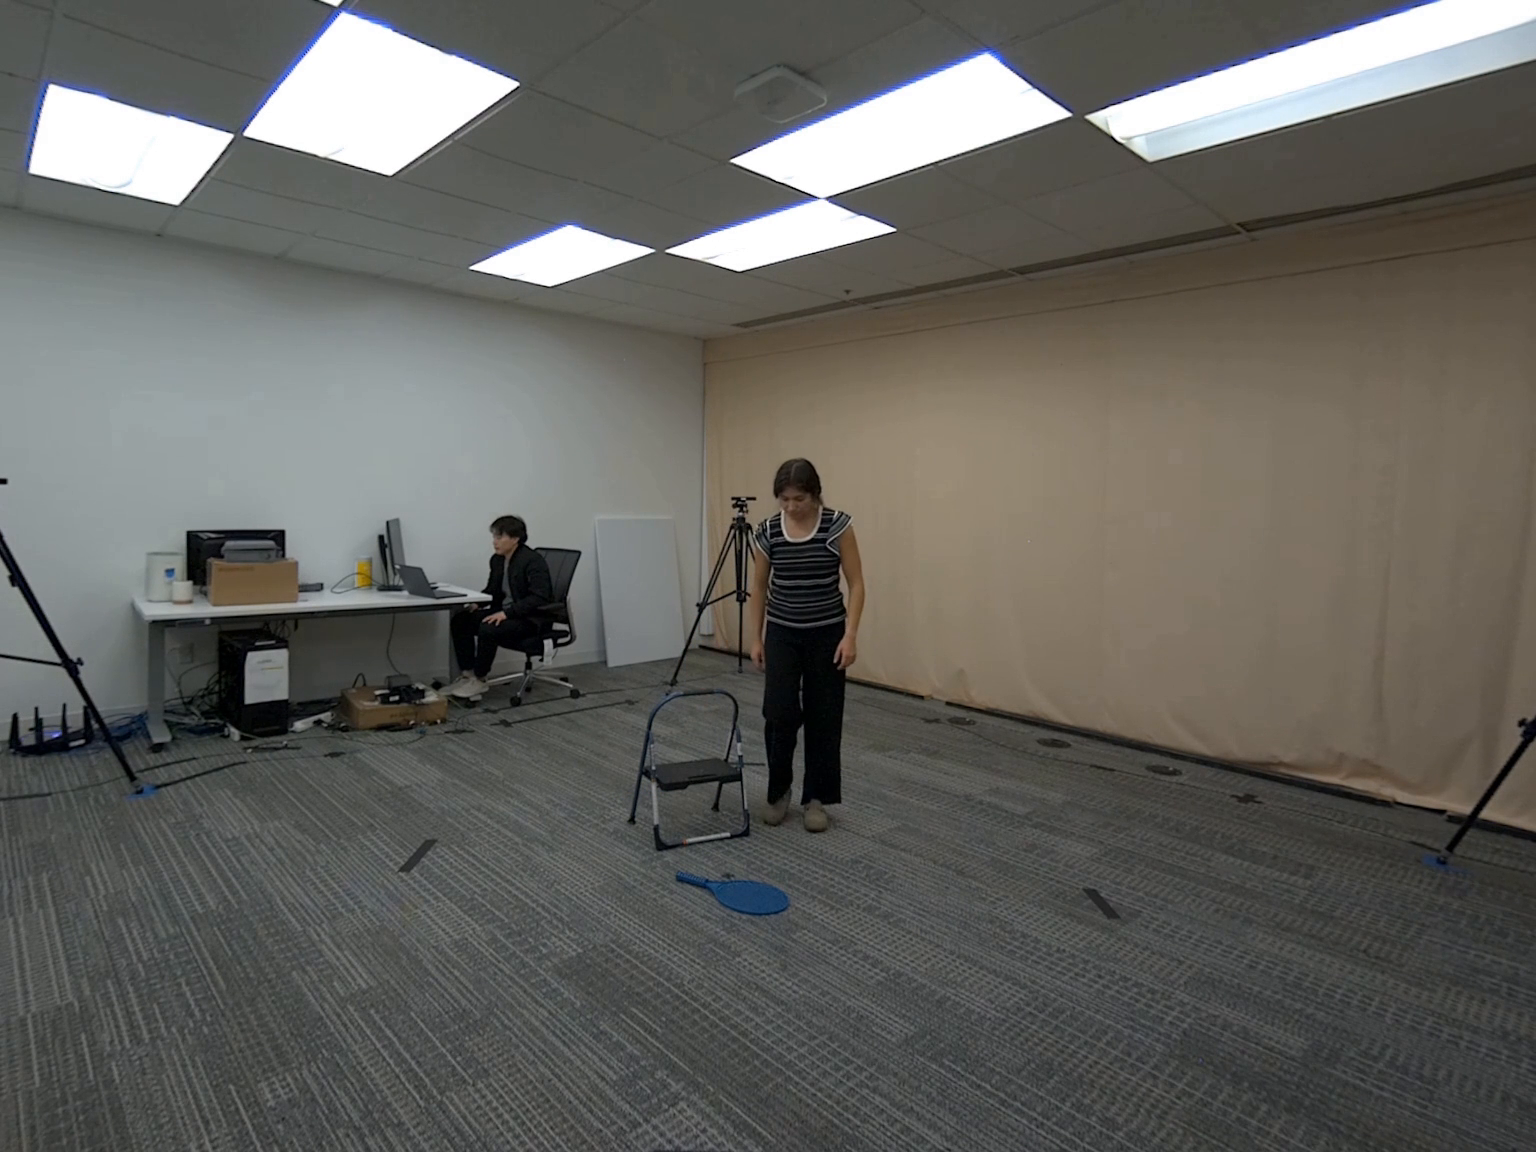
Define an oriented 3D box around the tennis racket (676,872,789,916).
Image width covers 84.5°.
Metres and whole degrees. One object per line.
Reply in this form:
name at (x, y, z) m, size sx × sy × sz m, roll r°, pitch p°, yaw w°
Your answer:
tennis racket at (-0.145, 1.106, 2.960) m, size 0.442 × 0.031 × 0.210 m, roll 7°, pitch 8°, yaw 26°
